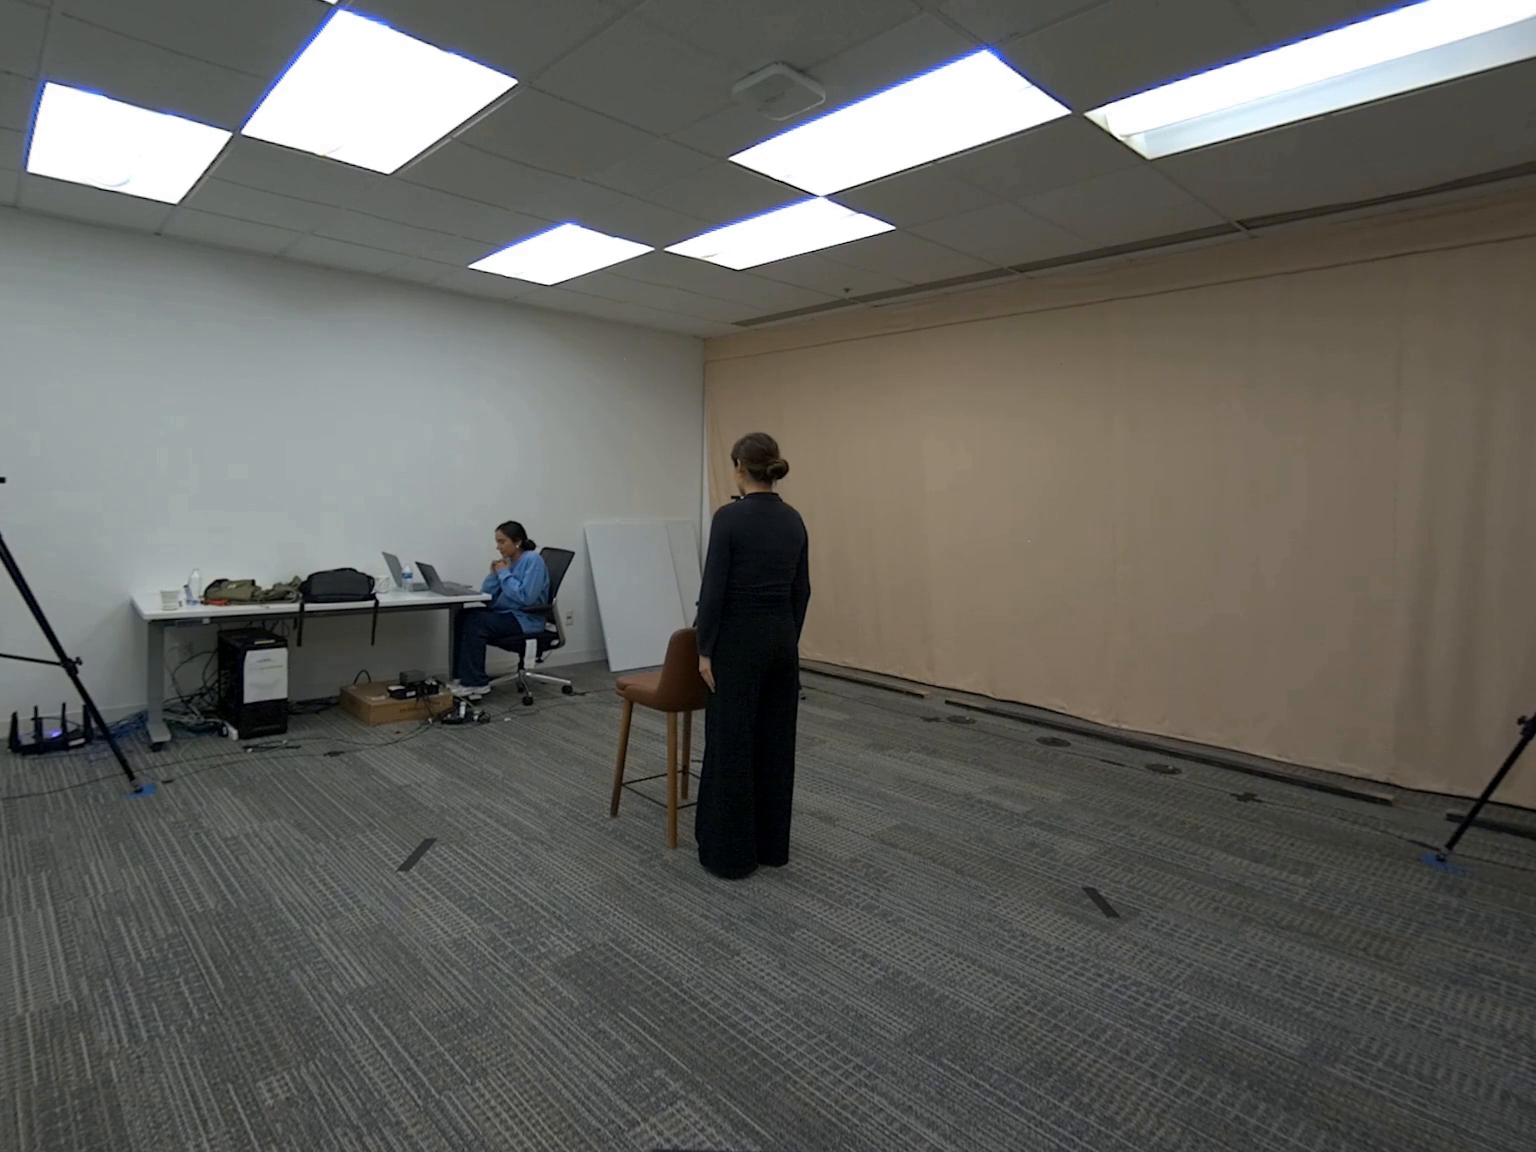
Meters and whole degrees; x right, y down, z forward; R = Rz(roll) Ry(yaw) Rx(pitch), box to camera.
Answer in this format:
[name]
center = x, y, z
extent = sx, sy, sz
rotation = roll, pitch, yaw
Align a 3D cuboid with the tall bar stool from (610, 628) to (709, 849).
[tall bar stool]
center = -0.376, 0.615, 3.576
extent = 0.446, 0.886, 0.480
rotation = -2, 7, -40
